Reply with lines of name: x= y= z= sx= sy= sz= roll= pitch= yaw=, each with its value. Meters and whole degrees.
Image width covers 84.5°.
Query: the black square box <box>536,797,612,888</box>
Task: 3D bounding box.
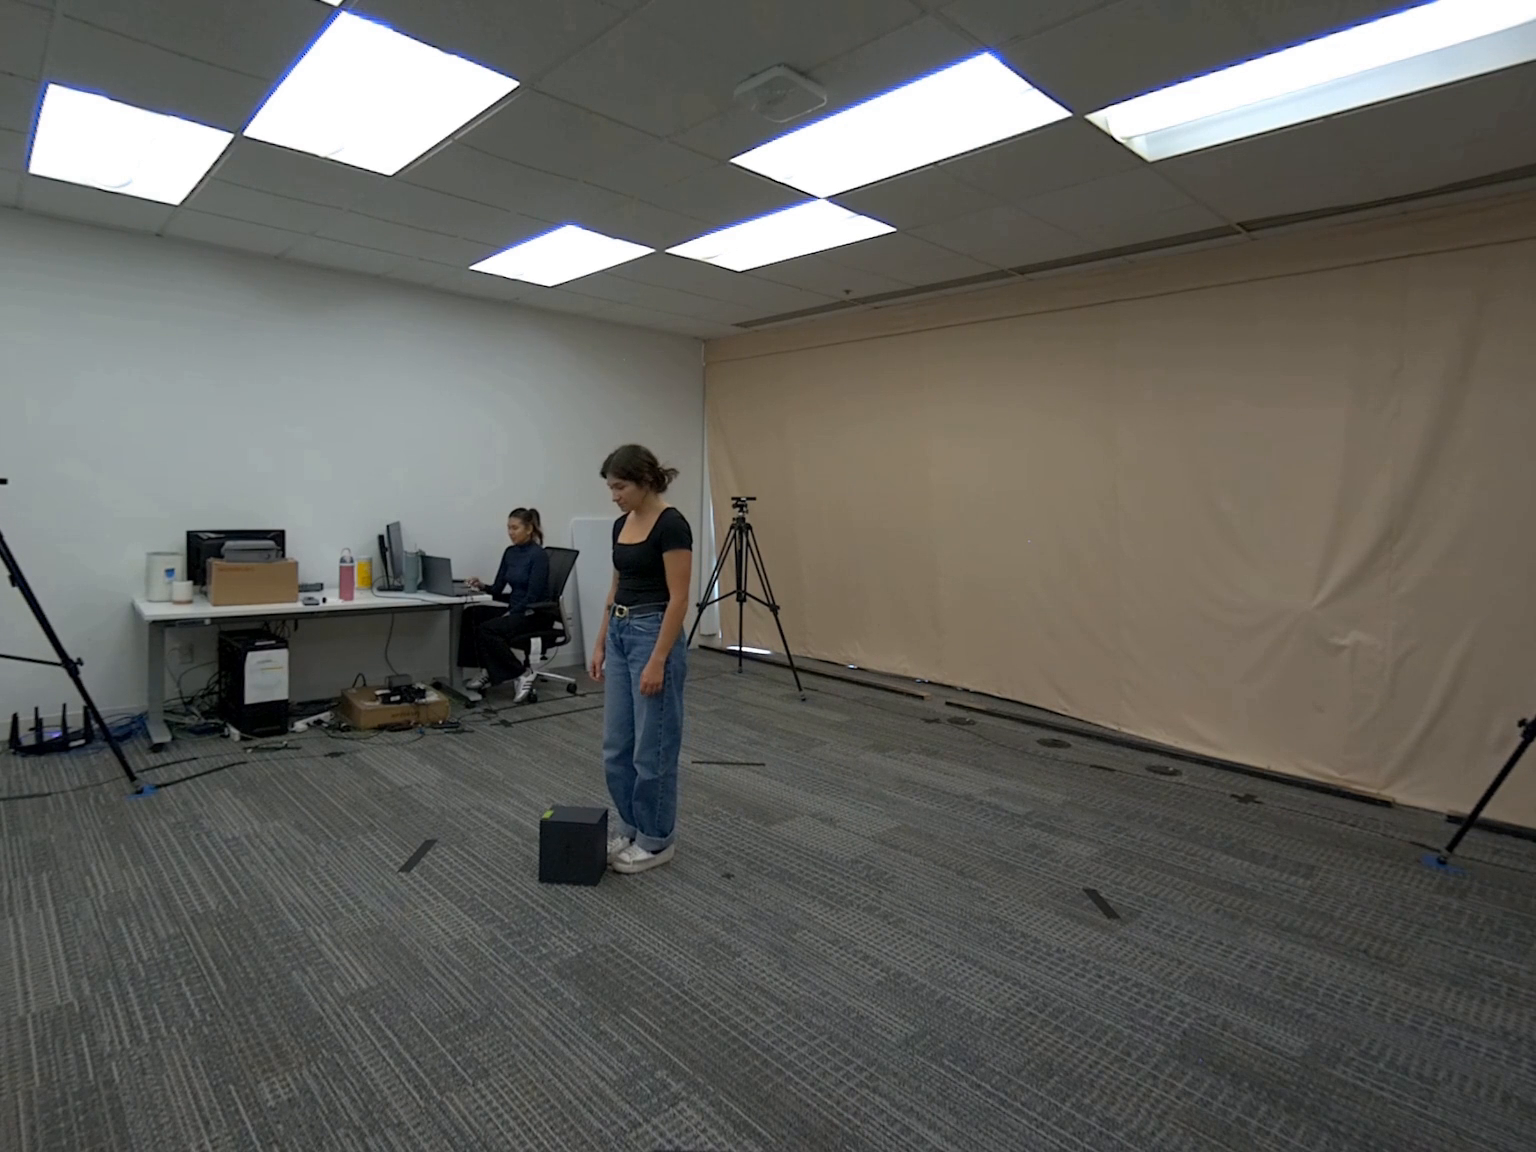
black square box: x=-0.717 y=0.976 z=3.071 sx=0.218 sy=0.227 sz=0.156 roll=1 pitch=3 yaw=4
